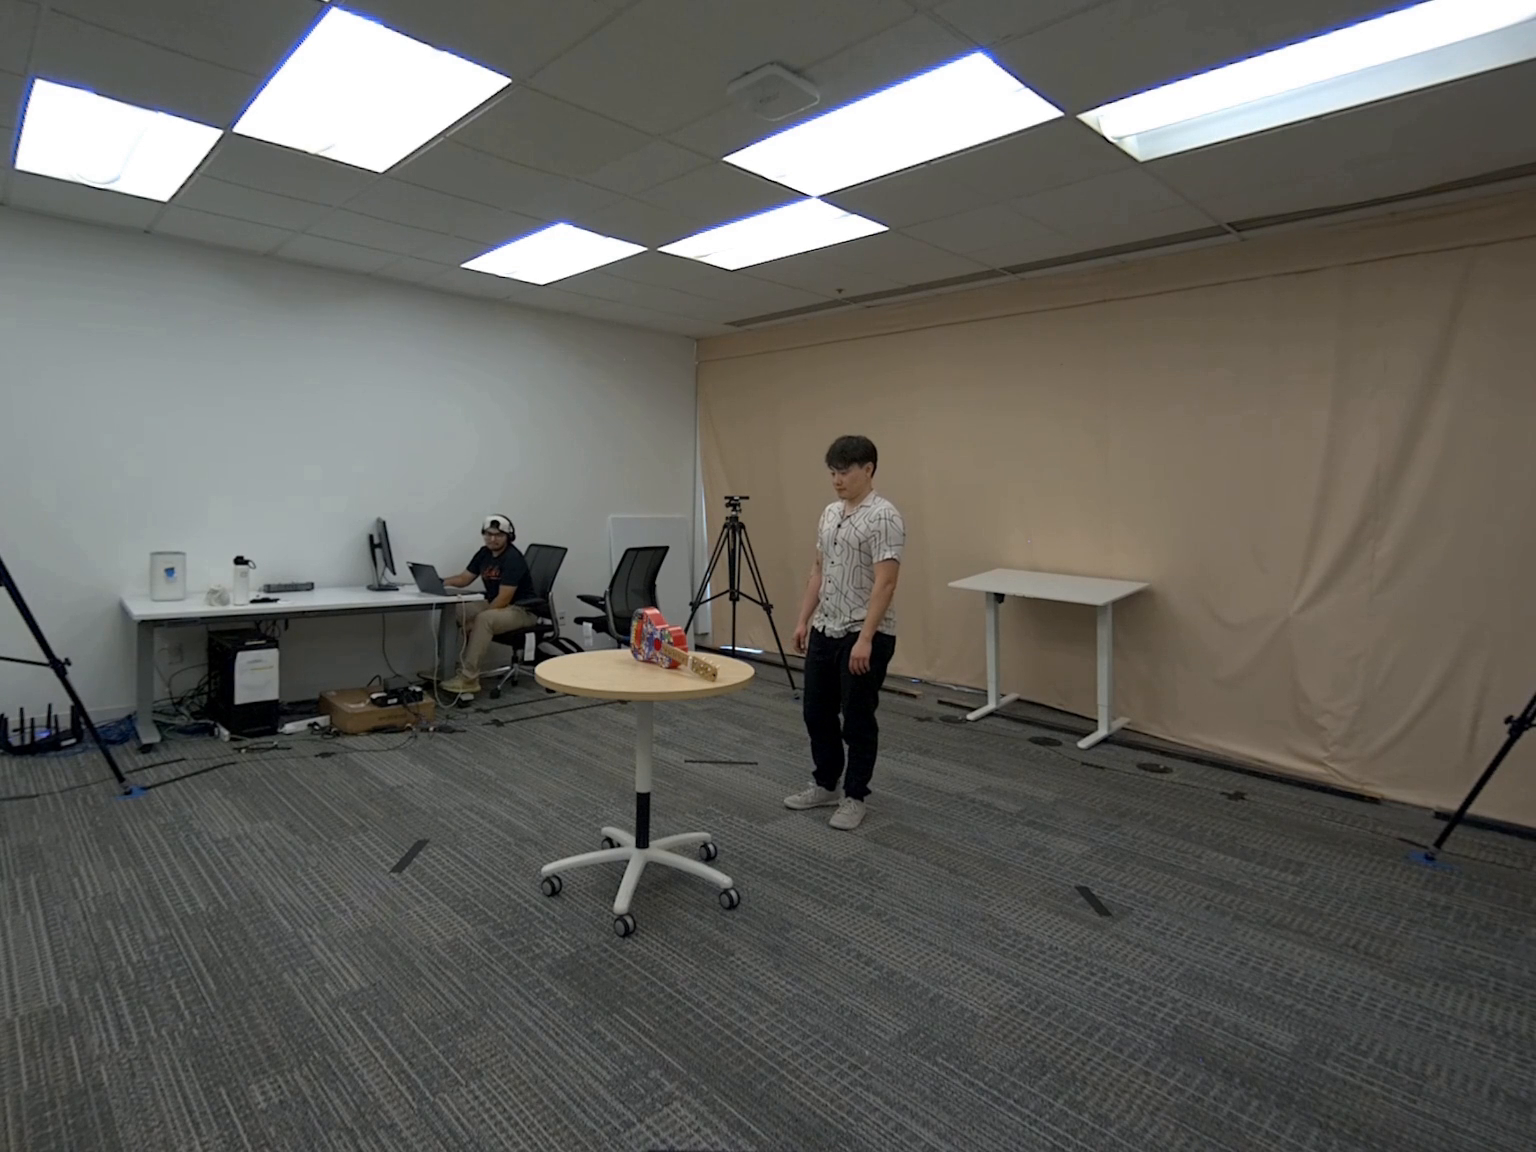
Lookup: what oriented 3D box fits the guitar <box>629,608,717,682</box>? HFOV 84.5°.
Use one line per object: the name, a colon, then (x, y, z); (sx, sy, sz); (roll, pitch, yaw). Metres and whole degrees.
guitar: (-0.334, 0.289, 2.963); (0.069, 0.191, 0.514); (-2, 24, -42)
